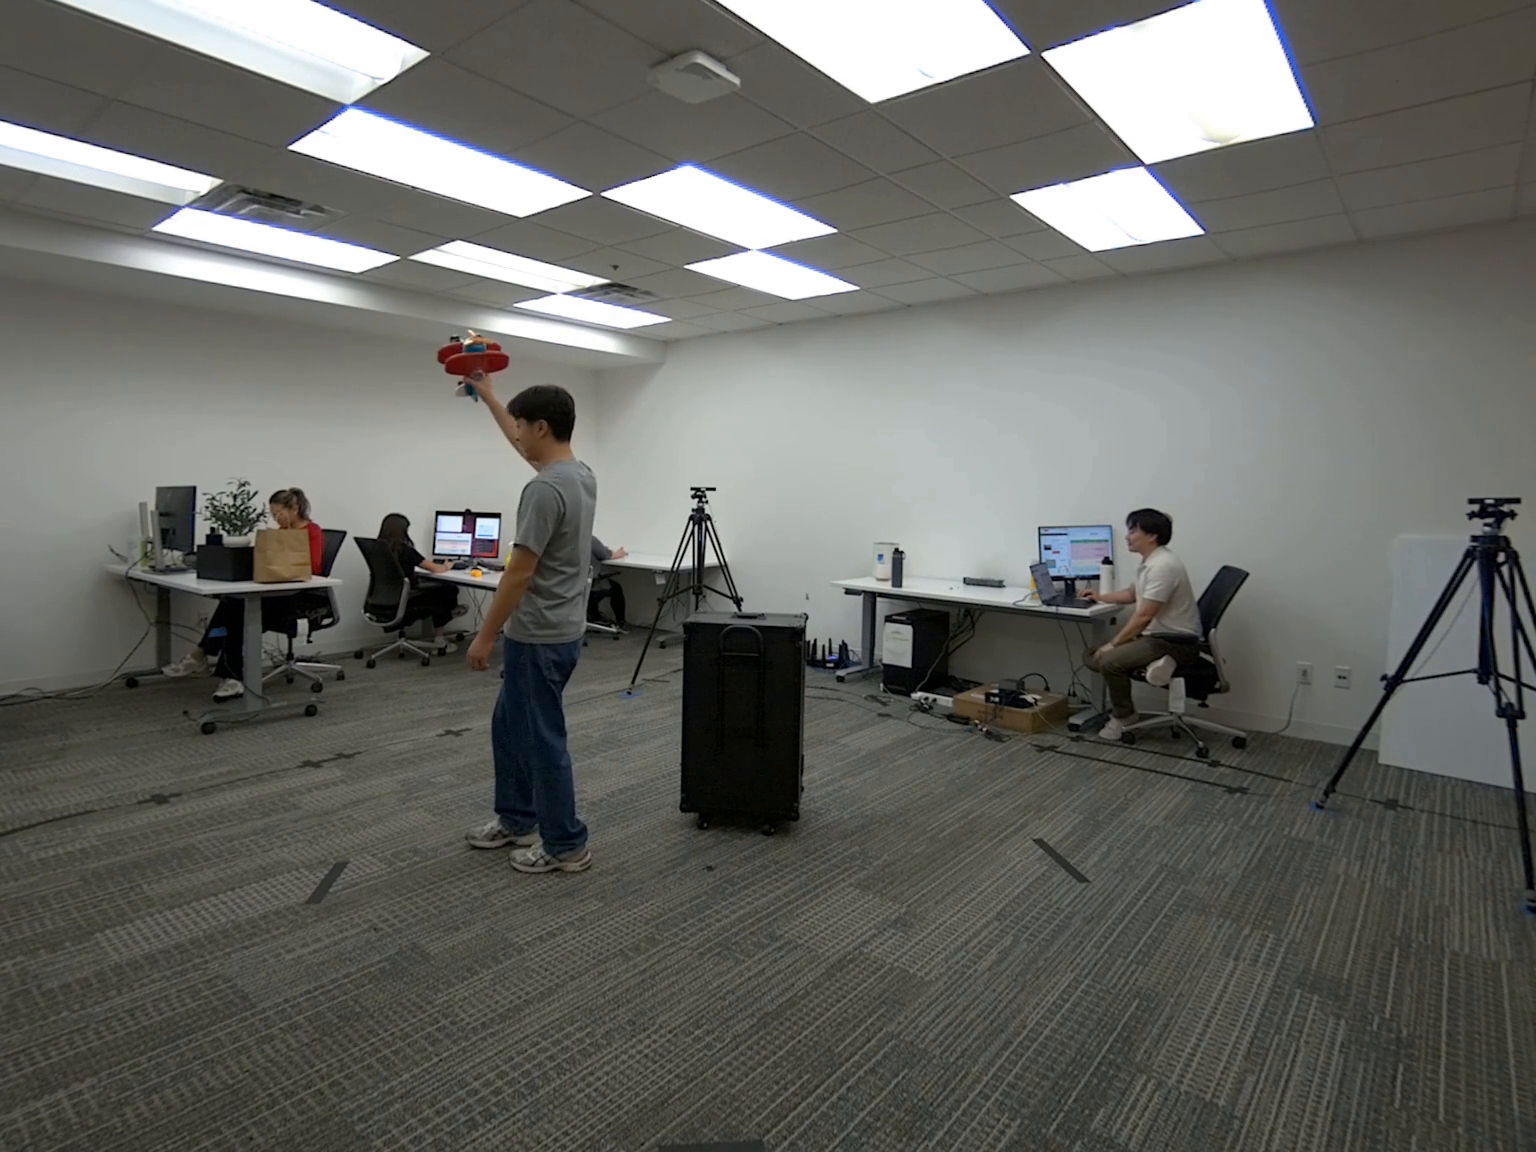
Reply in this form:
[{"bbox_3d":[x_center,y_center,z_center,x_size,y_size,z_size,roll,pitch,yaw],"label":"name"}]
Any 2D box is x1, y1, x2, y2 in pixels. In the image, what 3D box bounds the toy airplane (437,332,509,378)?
[{"bbox_3d":[-1.155,-0.822,3.306,0.250,0.249,0.163,-38,45,-17],"label":"toy airplane"}]
